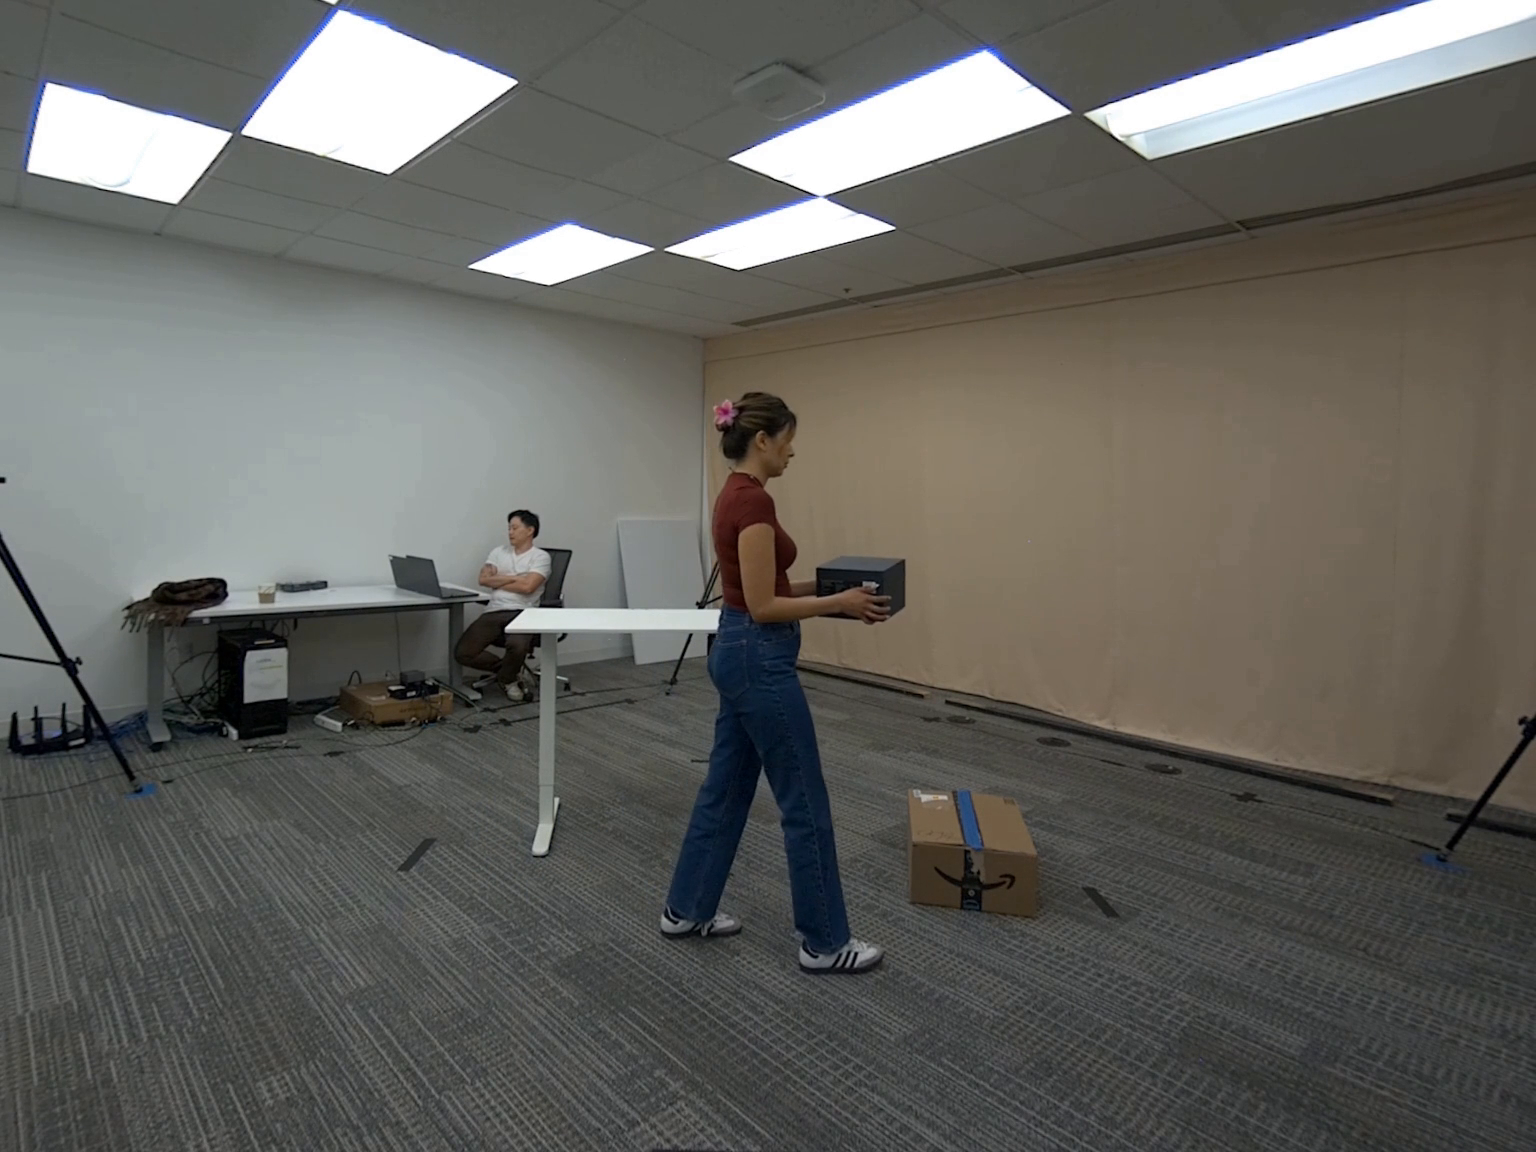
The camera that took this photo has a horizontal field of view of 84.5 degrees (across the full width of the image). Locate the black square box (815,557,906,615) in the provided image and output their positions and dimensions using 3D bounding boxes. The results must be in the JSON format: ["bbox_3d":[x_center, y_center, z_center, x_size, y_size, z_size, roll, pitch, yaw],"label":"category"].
[{"bbox_3d":[0.292,0.030,2.614,0.221,0.155,0.225,2,10,26],"label":"black square box"}]
